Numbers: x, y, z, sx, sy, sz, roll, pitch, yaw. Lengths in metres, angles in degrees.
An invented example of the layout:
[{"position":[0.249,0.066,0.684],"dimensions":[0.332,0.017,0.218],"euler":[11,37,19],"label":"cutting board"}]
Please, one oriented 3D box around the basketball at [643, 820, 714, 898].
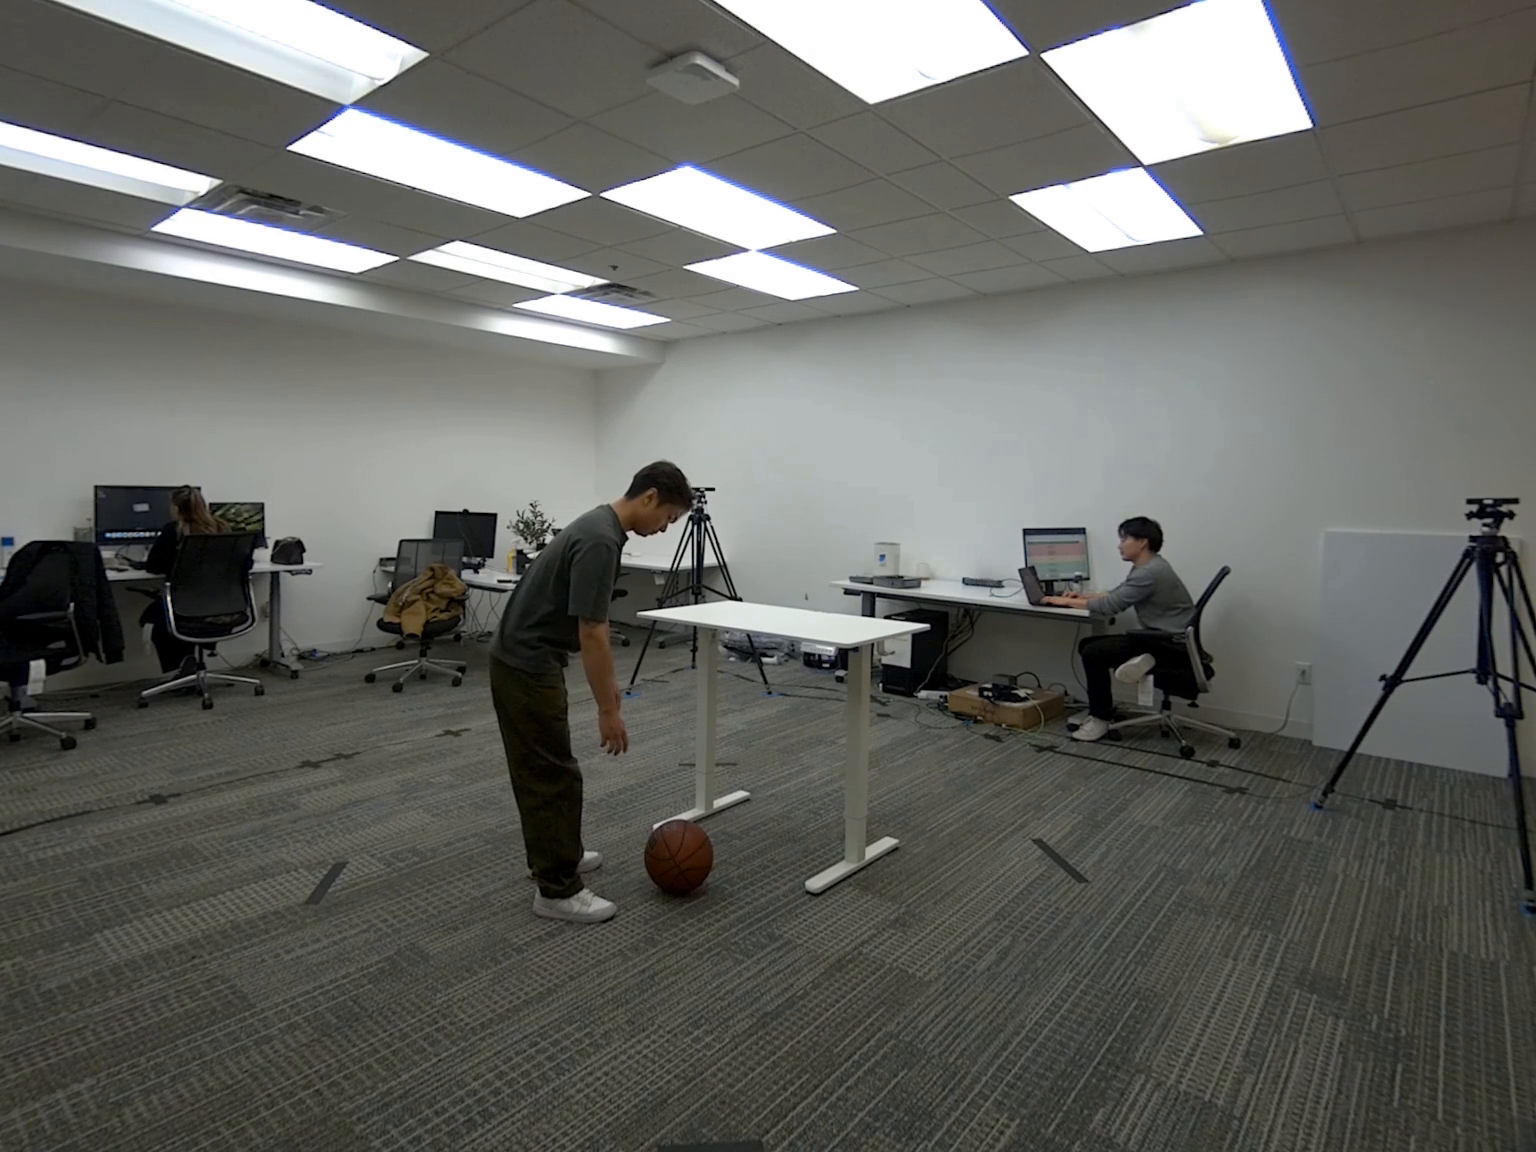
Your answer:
[{"position":[-0.319,0.963,2.930],"dimensions":[0.235,0.235,0.237],"euler":[1,4,-2],"label":"basketball"}]
